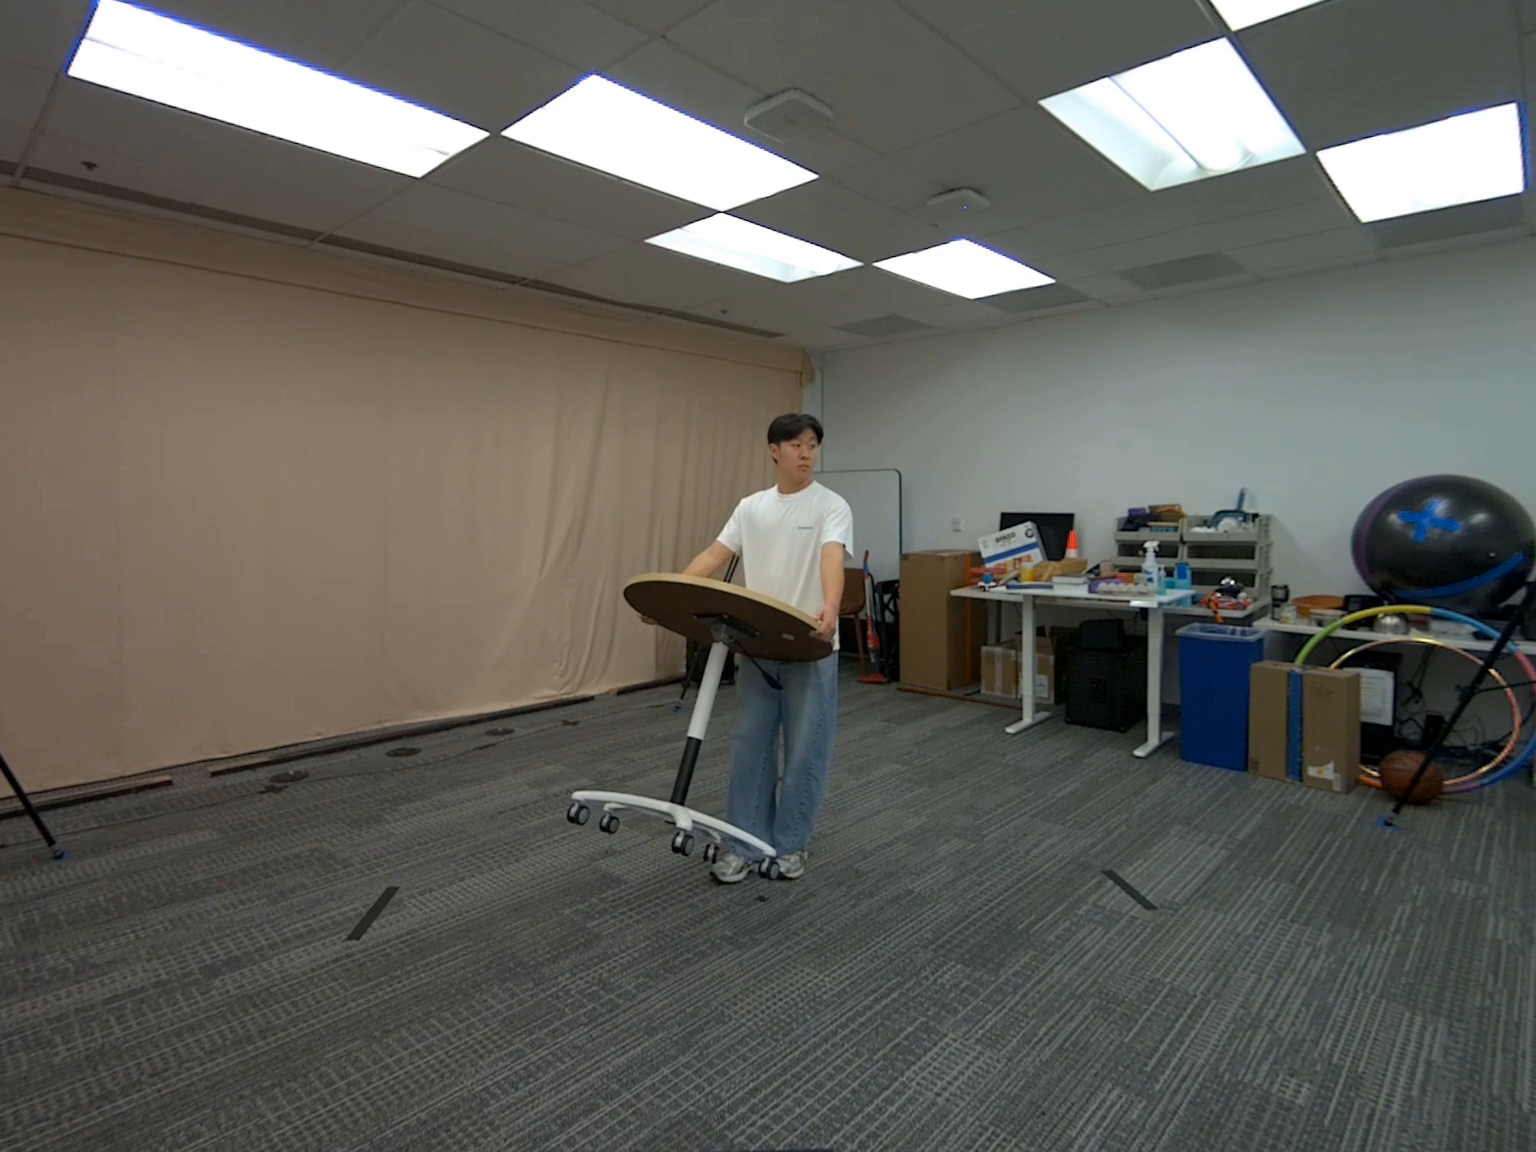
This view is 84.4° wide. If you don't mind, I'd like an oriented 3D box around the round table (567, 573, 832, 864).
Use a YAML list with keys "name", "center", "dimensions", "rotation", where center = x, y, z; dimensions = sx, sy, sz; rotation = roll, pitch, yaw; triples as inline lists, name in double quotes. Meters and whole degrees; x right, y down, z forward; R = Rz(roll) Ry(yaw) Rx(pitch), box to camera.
- name: "round table"
  center: [-0.234, 0.516, 2.844]
  dimensions: [0.768, 0.798, 0.756]
  rotation: [15, -19, 3]
